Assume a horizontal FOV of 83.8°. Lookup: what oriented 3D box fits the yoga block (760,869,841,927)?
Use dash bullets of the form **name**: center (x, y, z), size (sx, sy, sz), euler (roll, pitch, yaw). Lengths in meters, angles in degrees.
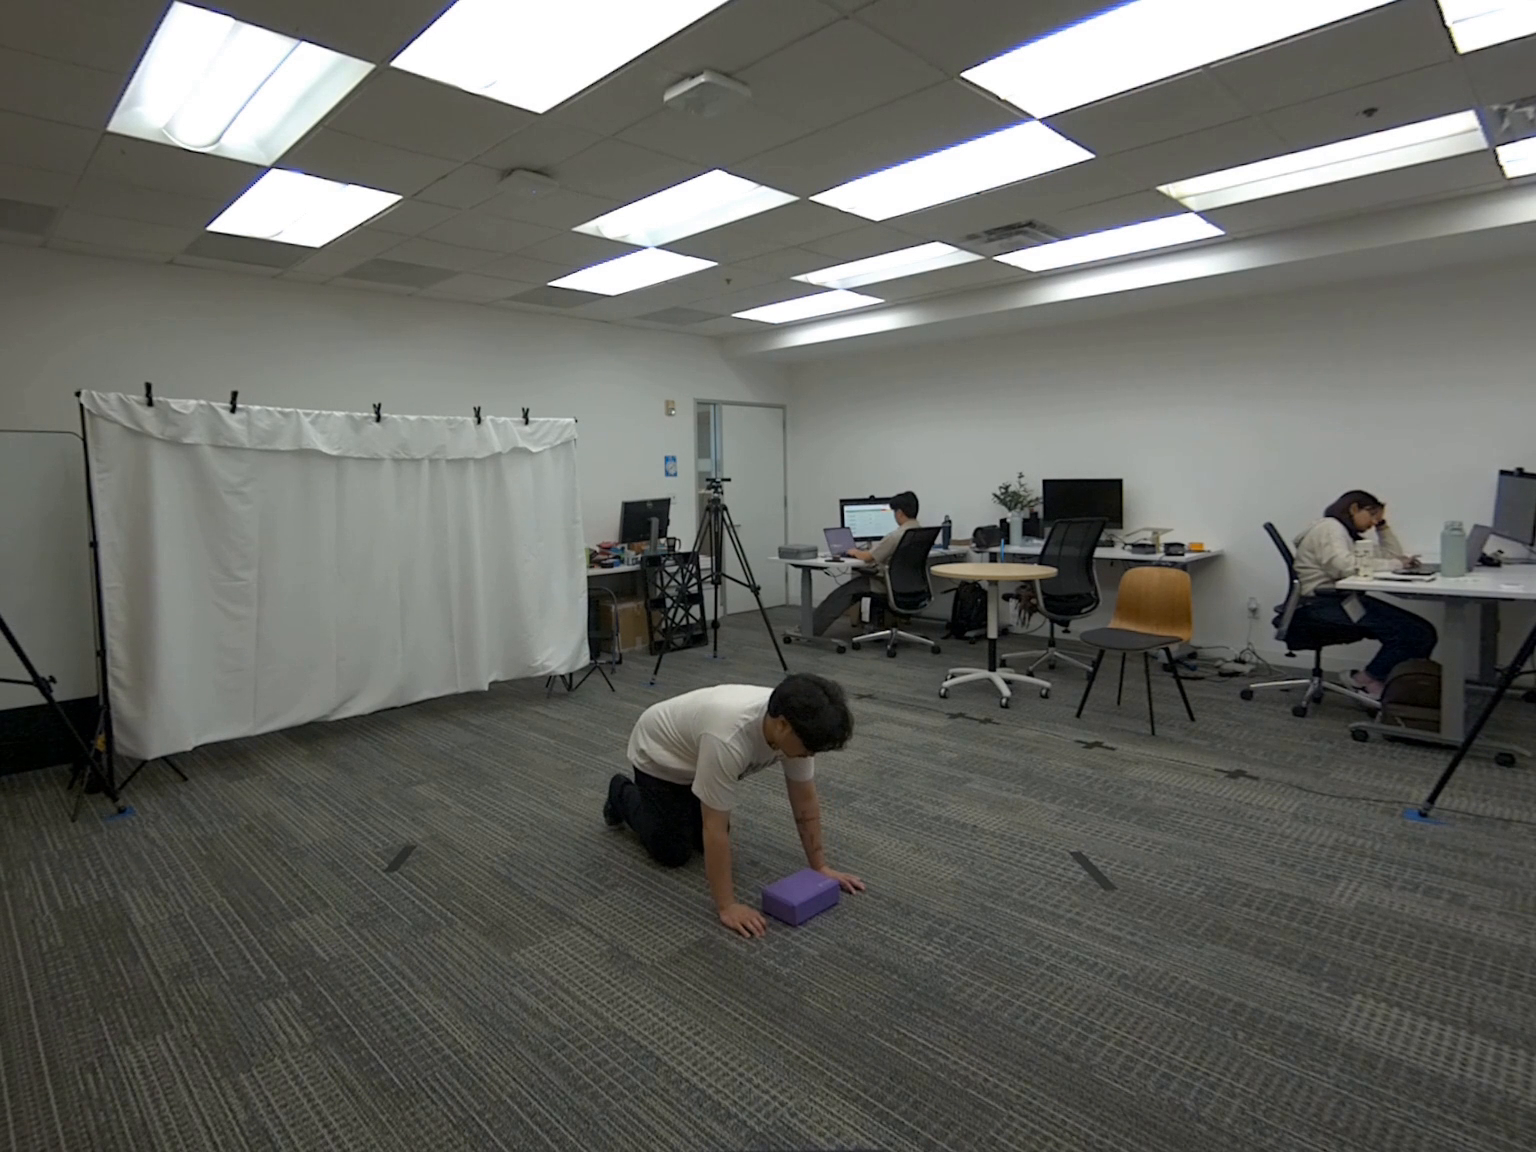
- **yoga block**: center (0.110, 1.039, 2.775), size (0.223, 0.076, 0.153), euler (-7, 8, -44)
